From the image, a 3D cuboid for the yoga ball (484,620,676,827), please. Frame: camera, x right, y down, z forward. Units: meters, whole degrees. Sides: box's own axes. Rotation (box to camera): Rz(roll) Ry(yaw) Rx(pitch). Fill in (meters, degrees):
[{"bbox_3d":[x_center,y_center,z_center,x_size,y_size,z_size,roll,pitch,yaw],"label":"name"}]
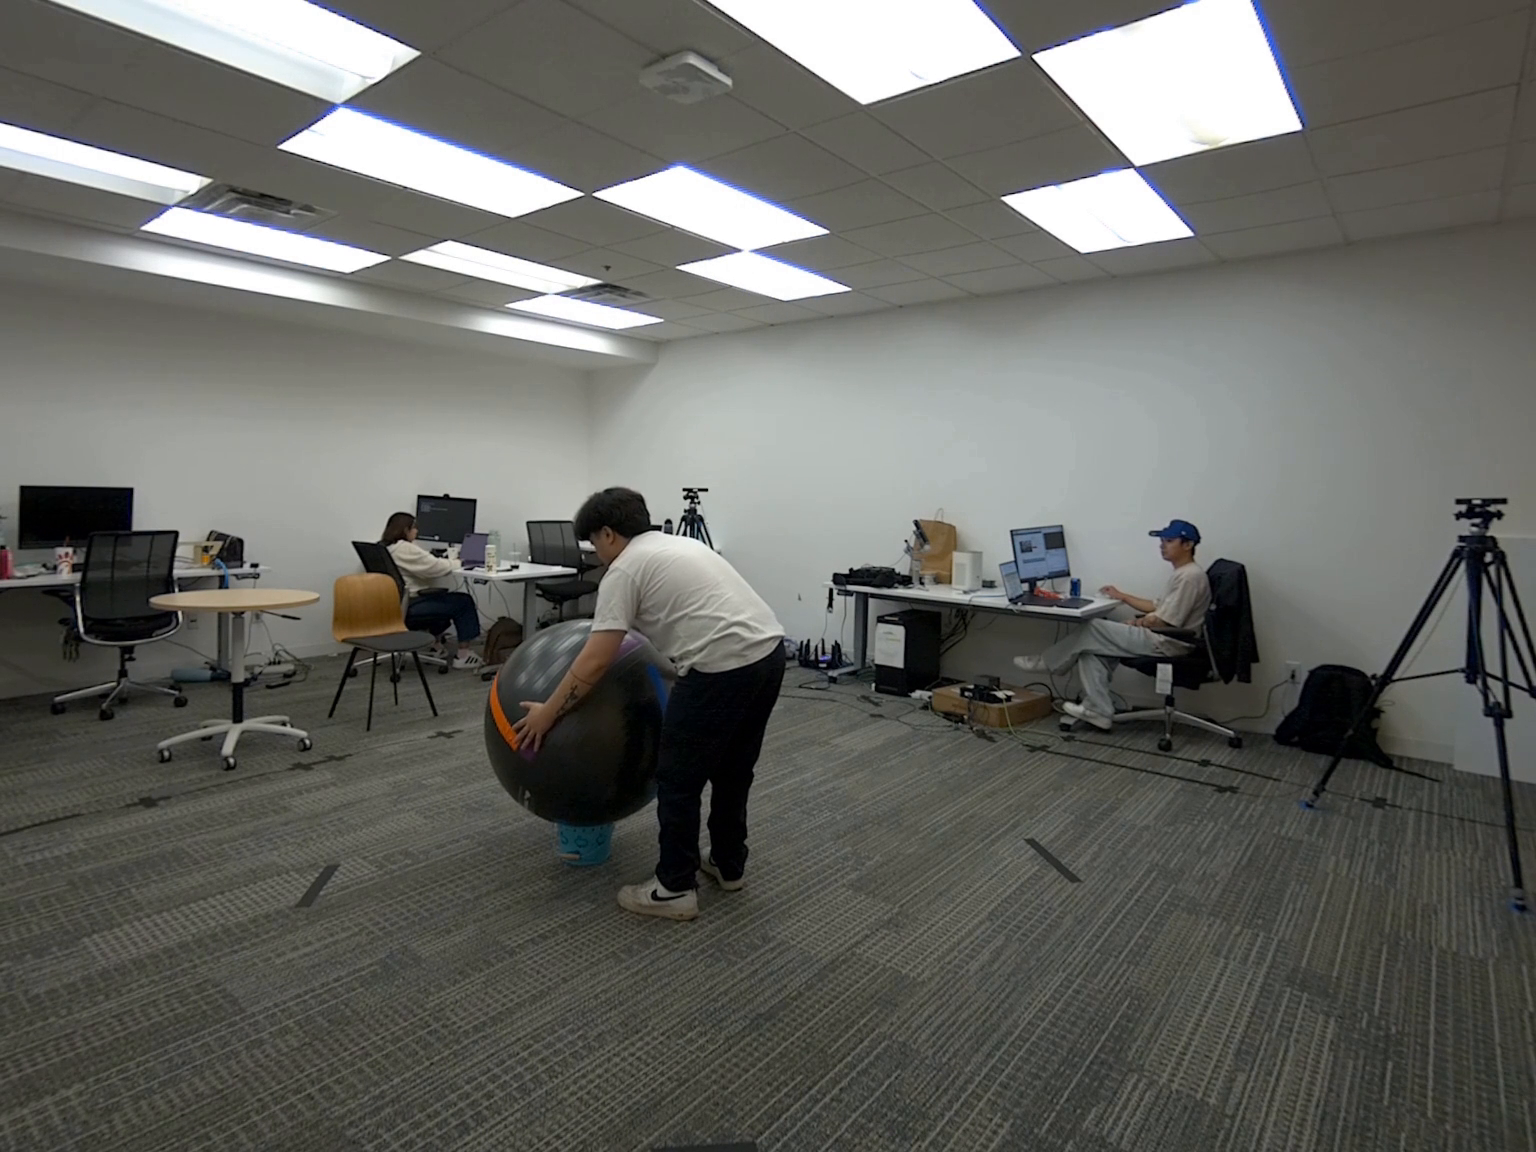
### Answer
[{"bbox_3d":[-0.691,0.549,3.199,0.757,0.755,0.762,1,4,-2],"label":"yoga ball"}]
